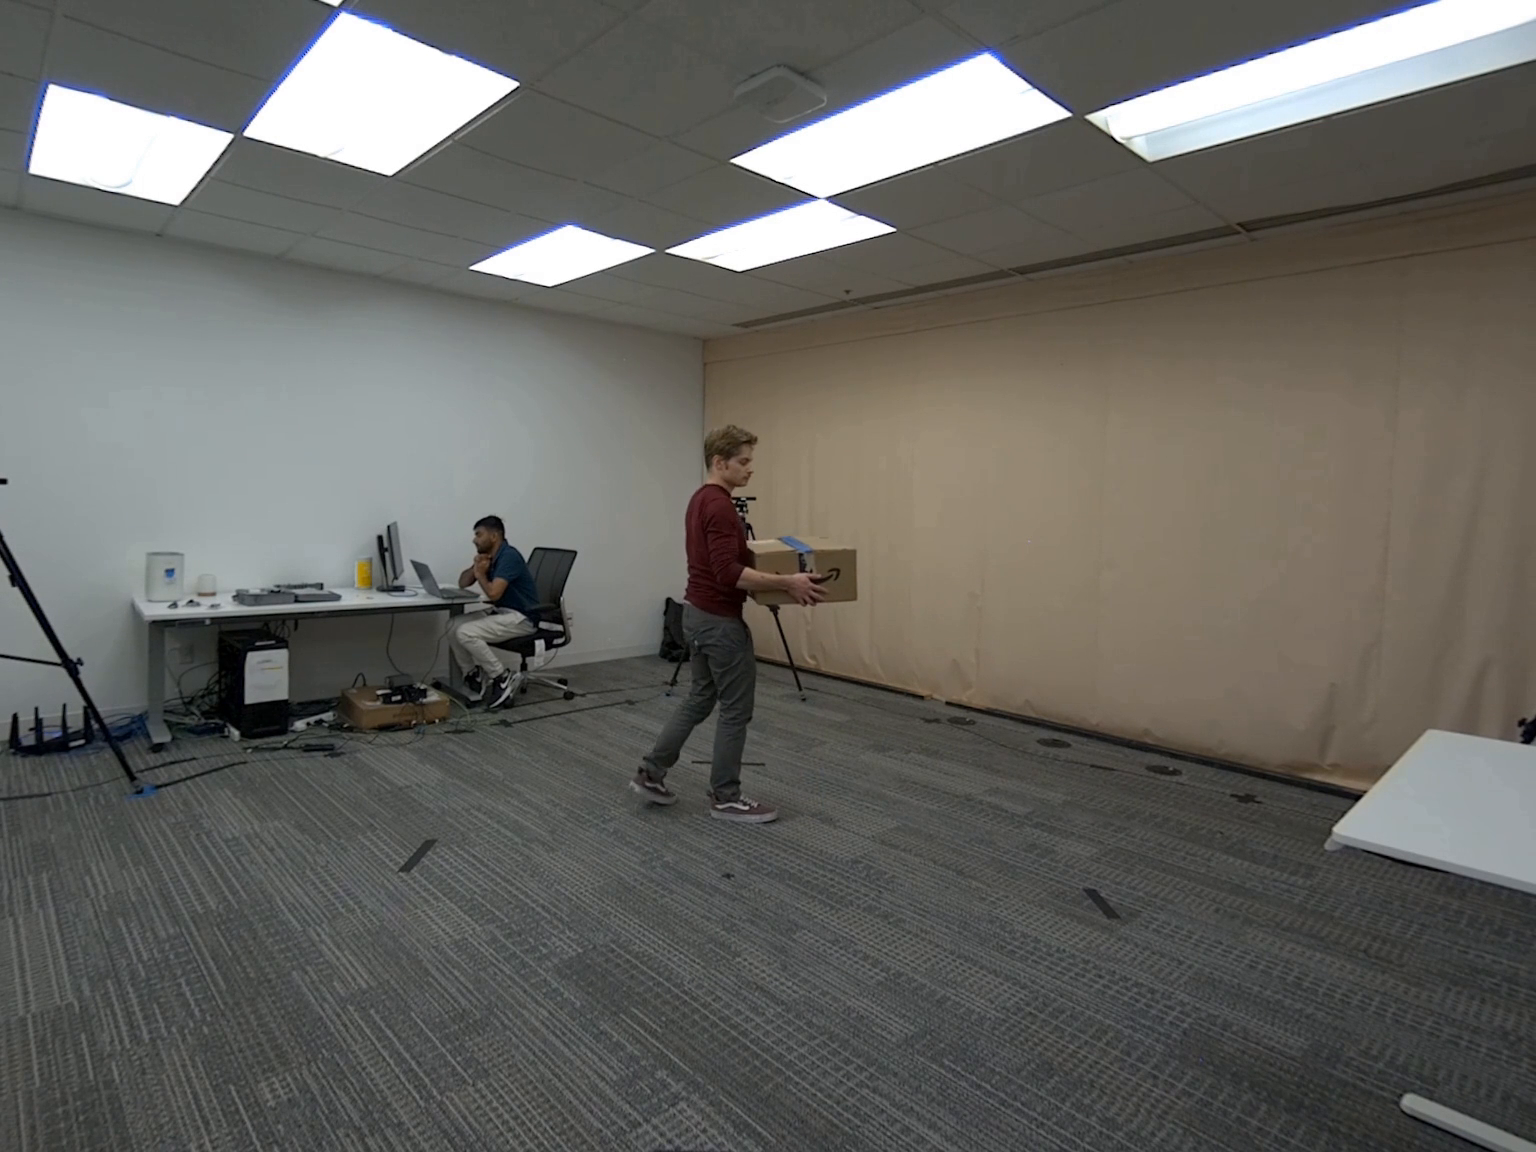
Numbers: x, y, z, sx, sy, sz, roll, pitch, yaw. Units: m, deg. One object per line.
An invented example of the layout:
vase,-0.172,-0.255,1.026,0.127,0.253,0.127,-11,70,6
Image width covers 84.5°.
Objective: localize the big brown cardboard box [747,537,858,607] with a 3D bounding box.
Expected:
big brown cardboard box,0.109,-0.035,3.709,0.415,0.232,0.595,-3,8,-7
